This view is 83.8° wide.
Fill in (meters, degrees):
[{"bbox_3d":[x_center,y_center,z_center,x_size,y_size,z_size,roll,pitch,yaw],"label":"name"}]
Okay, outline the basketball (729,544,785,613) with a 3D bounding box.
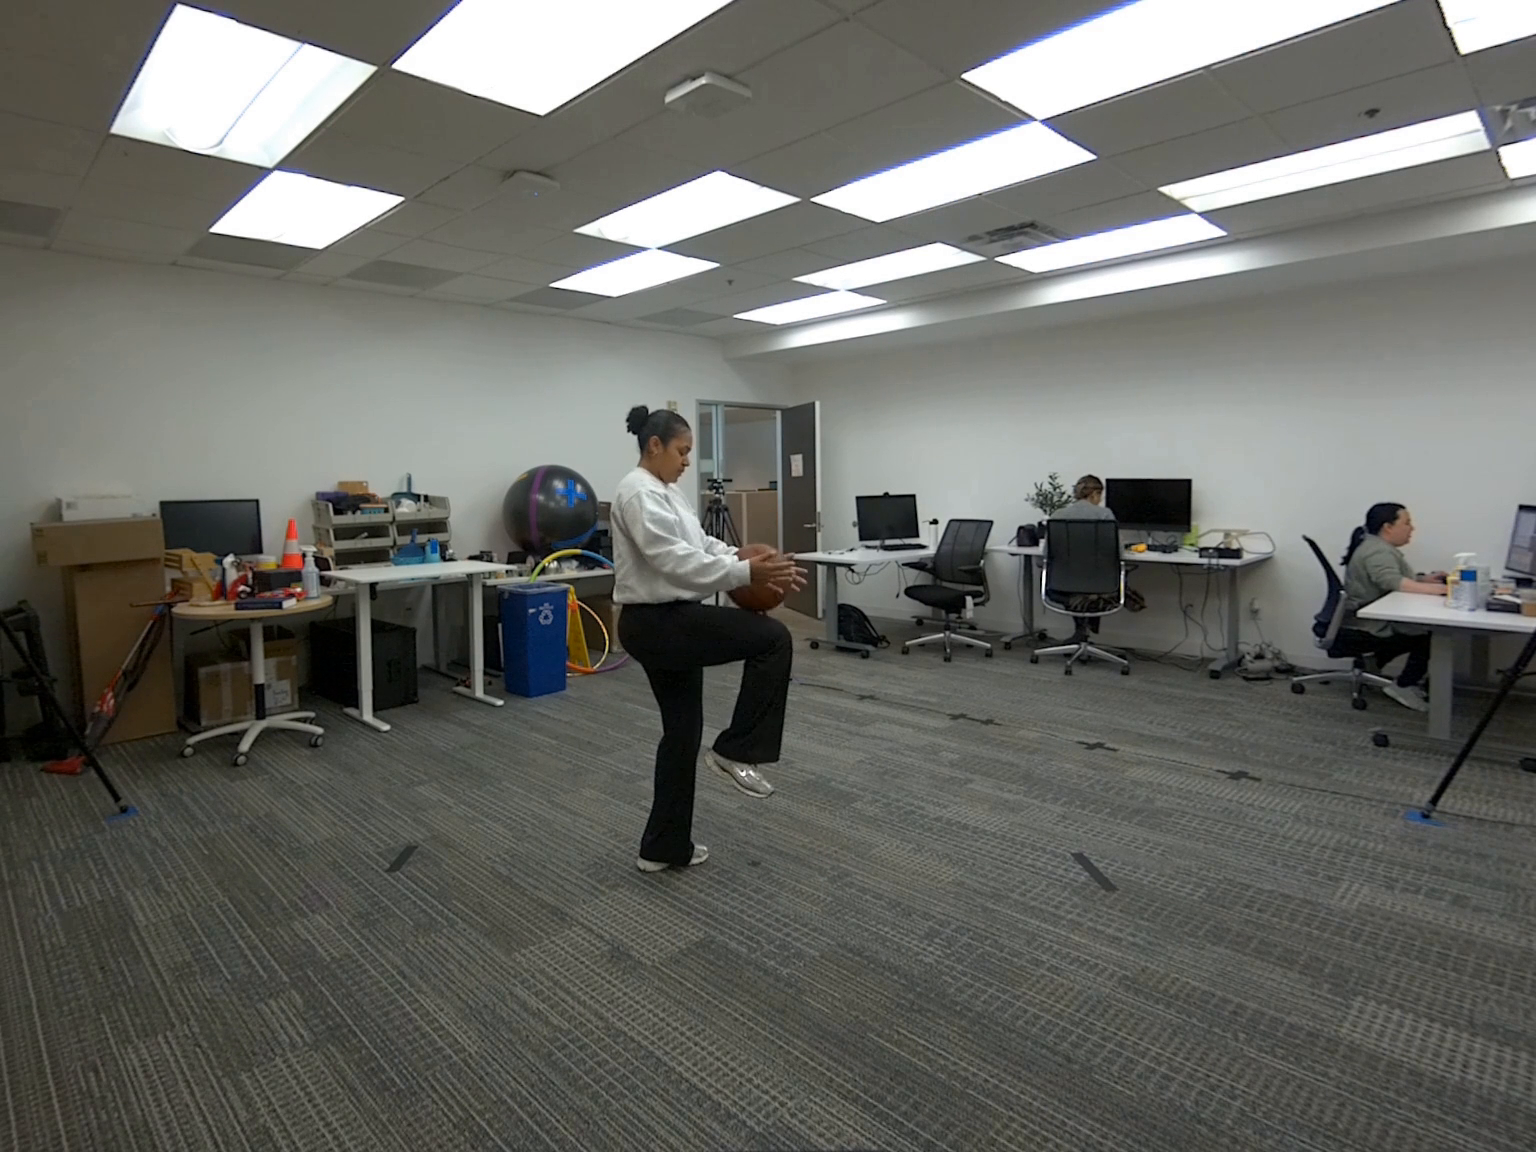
[{"bbox_3d":[-0.026,-0.032,2.969,0.236,0.235,0.237,-1,5,-2],"label":"basketball"}]
